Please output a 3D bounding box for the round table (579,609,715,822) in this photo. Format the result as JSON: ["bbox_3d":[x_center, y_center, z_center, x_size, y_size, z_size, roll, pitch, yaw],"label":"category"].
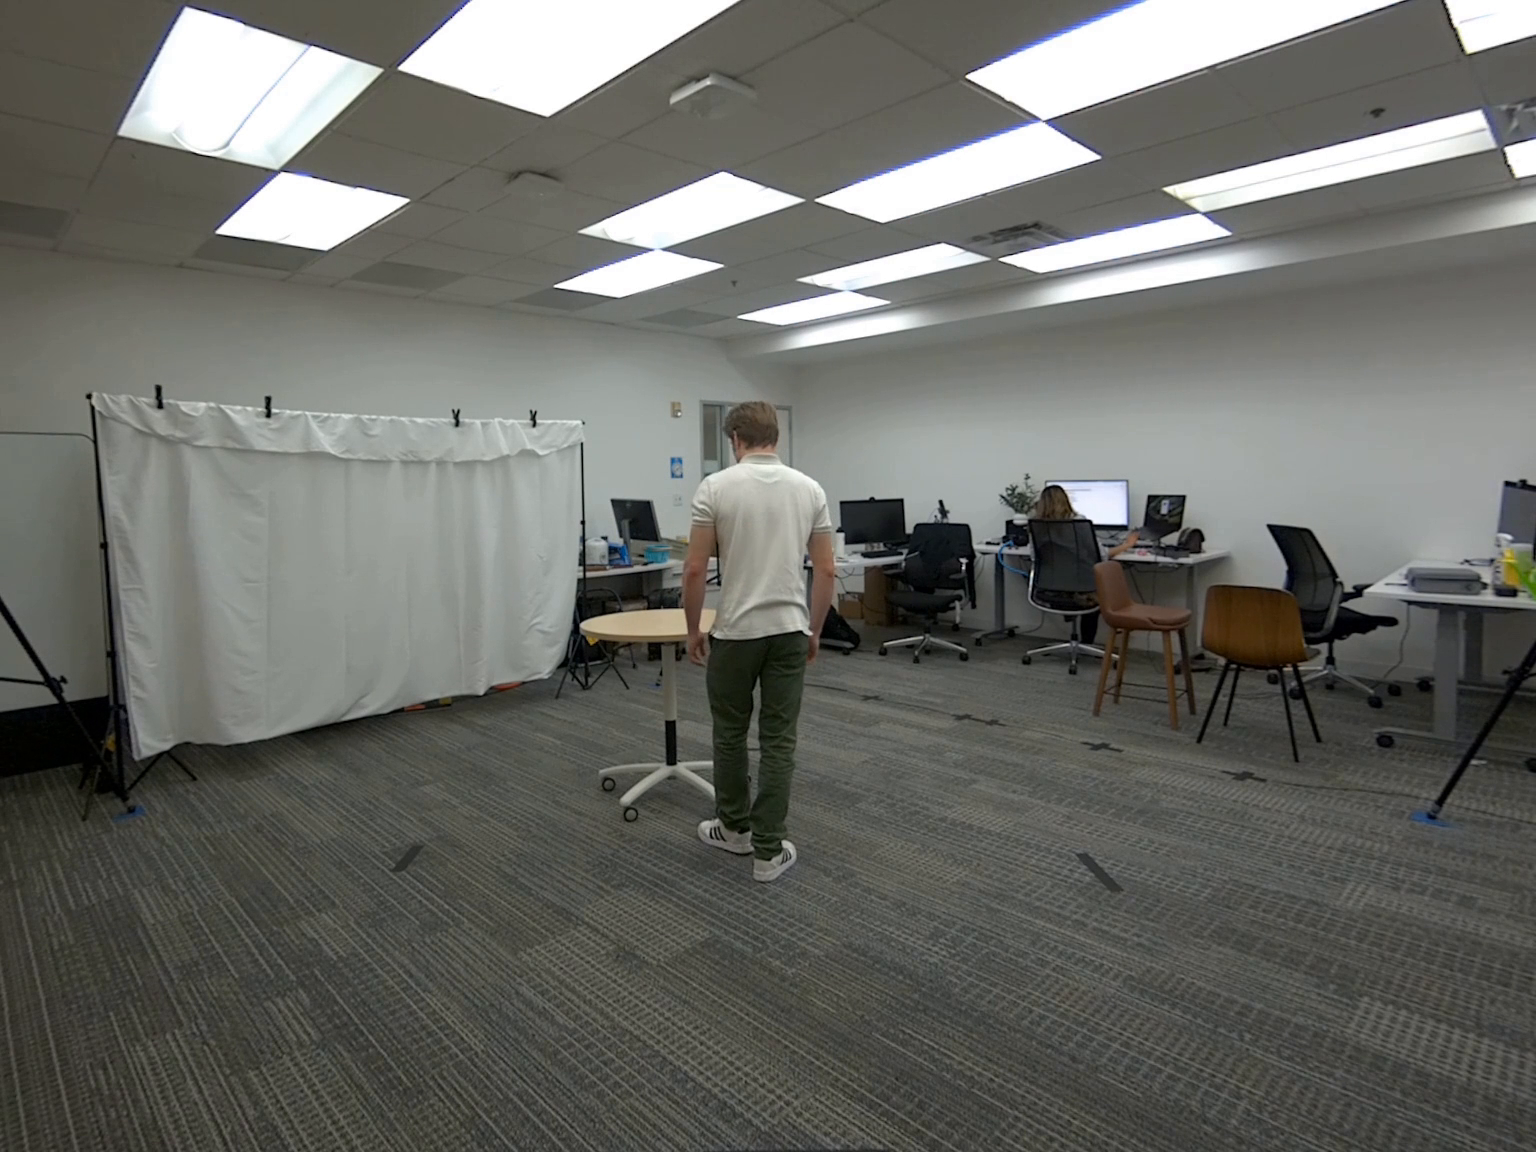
[{"bbox_3d":[-0.434,0.591,3.789,0.763,0.792,0.767,-2,4,-2],"label":"round table"}]
